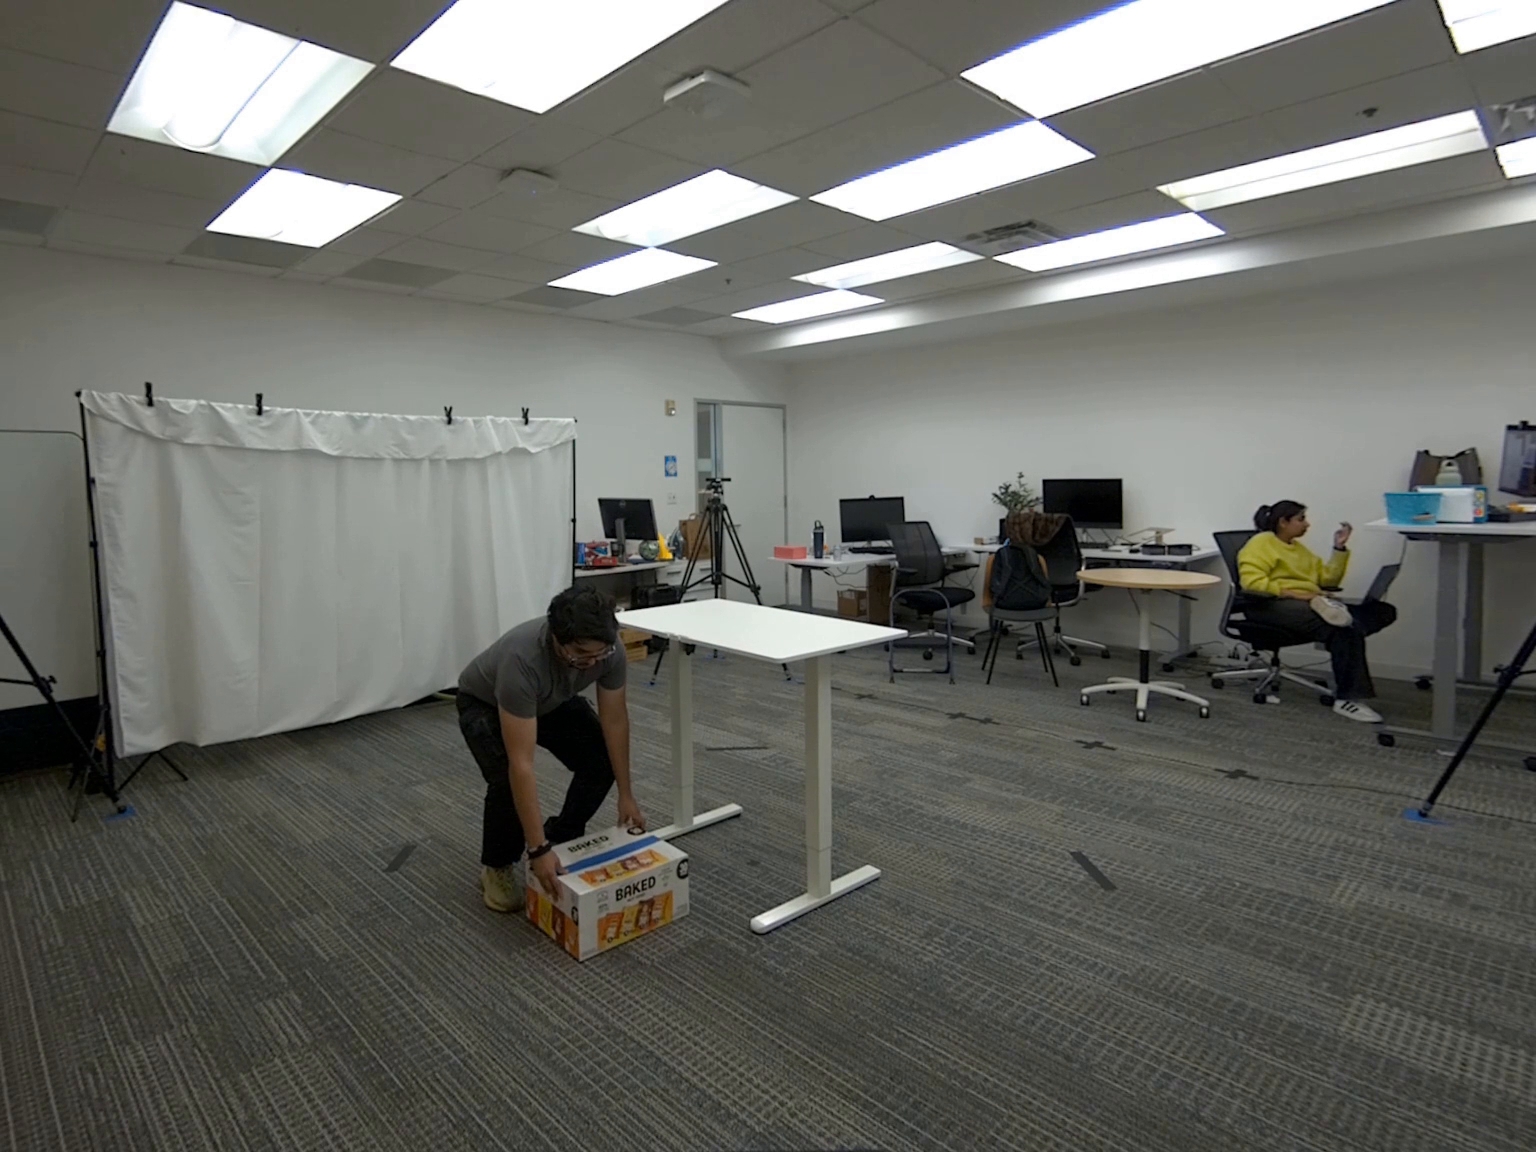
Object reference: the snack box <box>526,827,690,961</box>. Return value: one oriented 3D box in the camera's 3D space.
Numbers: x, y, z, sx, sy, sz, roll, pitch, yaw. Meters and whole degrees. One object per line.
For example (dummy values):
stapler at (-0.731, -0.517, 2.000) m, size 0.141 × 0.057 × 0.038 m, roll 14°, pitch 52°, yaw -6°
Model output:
snack box at (-0.515, 0.990, 2.728) m, size 0.394 × 0.204 × 0.351 m, roll -6°, pitch 9°, yaw -41°
